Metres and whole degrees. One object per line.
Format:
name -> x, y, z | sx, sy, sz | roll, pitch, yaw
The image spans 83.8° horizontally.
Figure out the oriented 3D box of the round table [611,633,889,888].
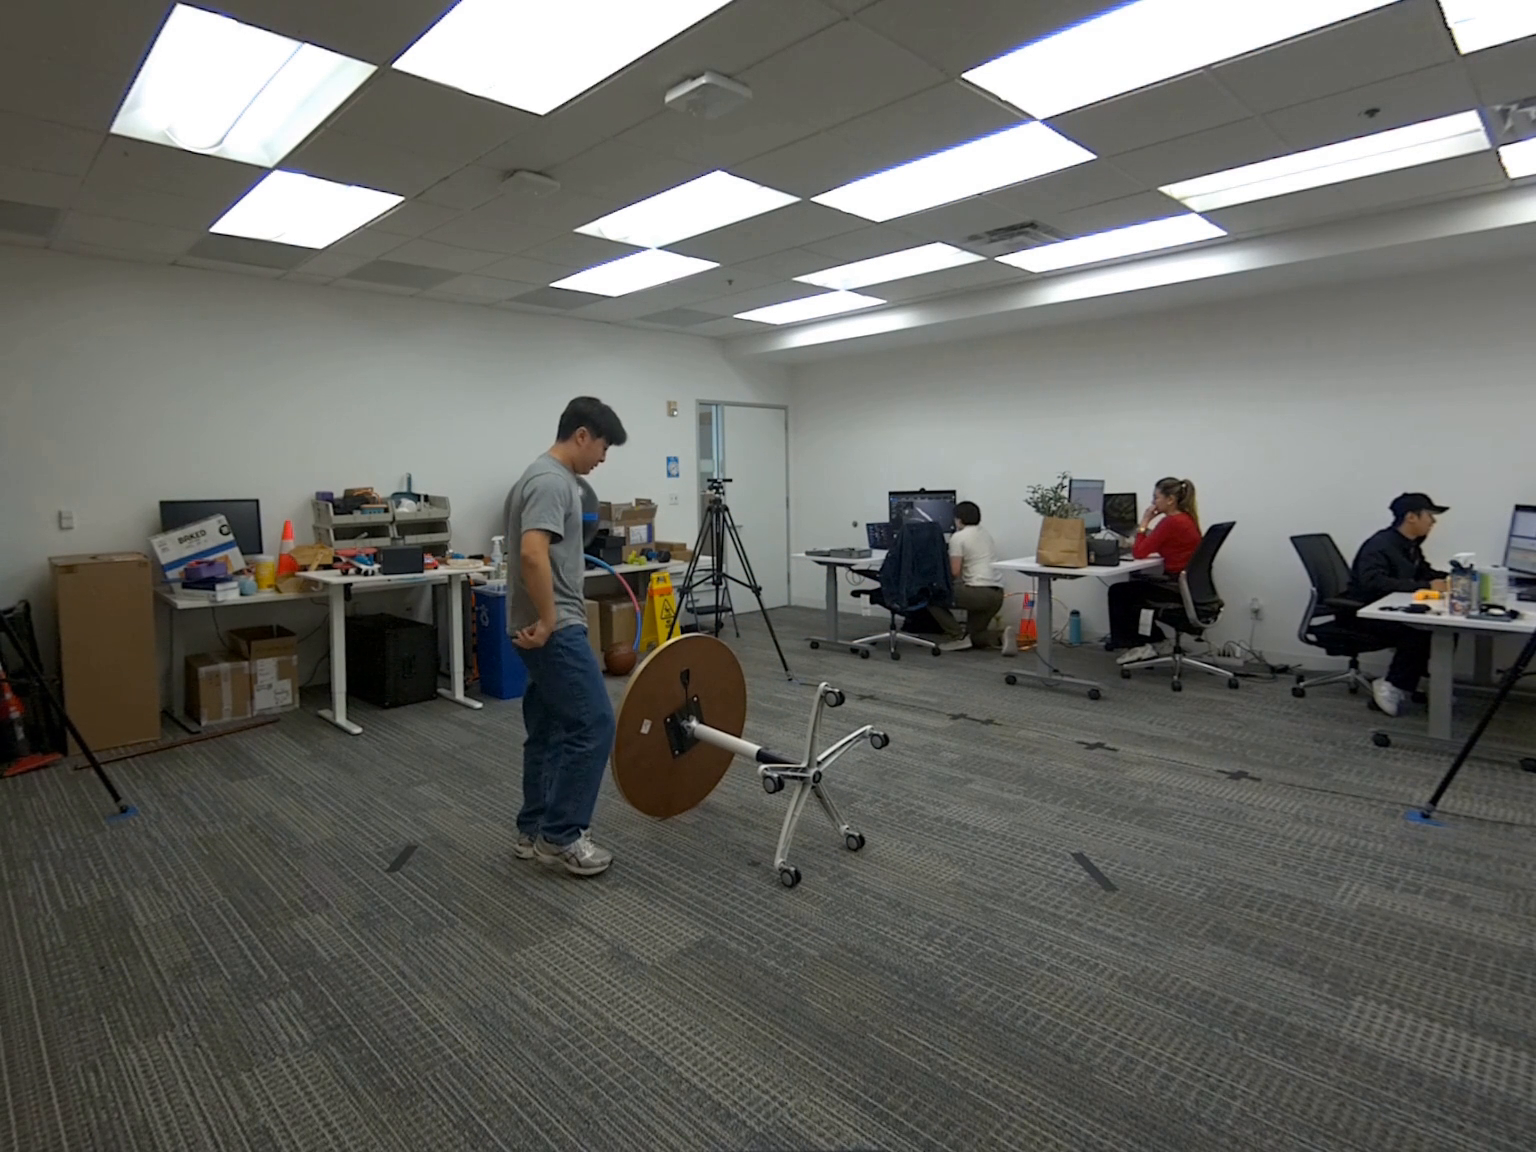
round table -> -0.056, 0.682, 3.297 | 0.821, 0.759, 0.744 | 11, 11, 41
